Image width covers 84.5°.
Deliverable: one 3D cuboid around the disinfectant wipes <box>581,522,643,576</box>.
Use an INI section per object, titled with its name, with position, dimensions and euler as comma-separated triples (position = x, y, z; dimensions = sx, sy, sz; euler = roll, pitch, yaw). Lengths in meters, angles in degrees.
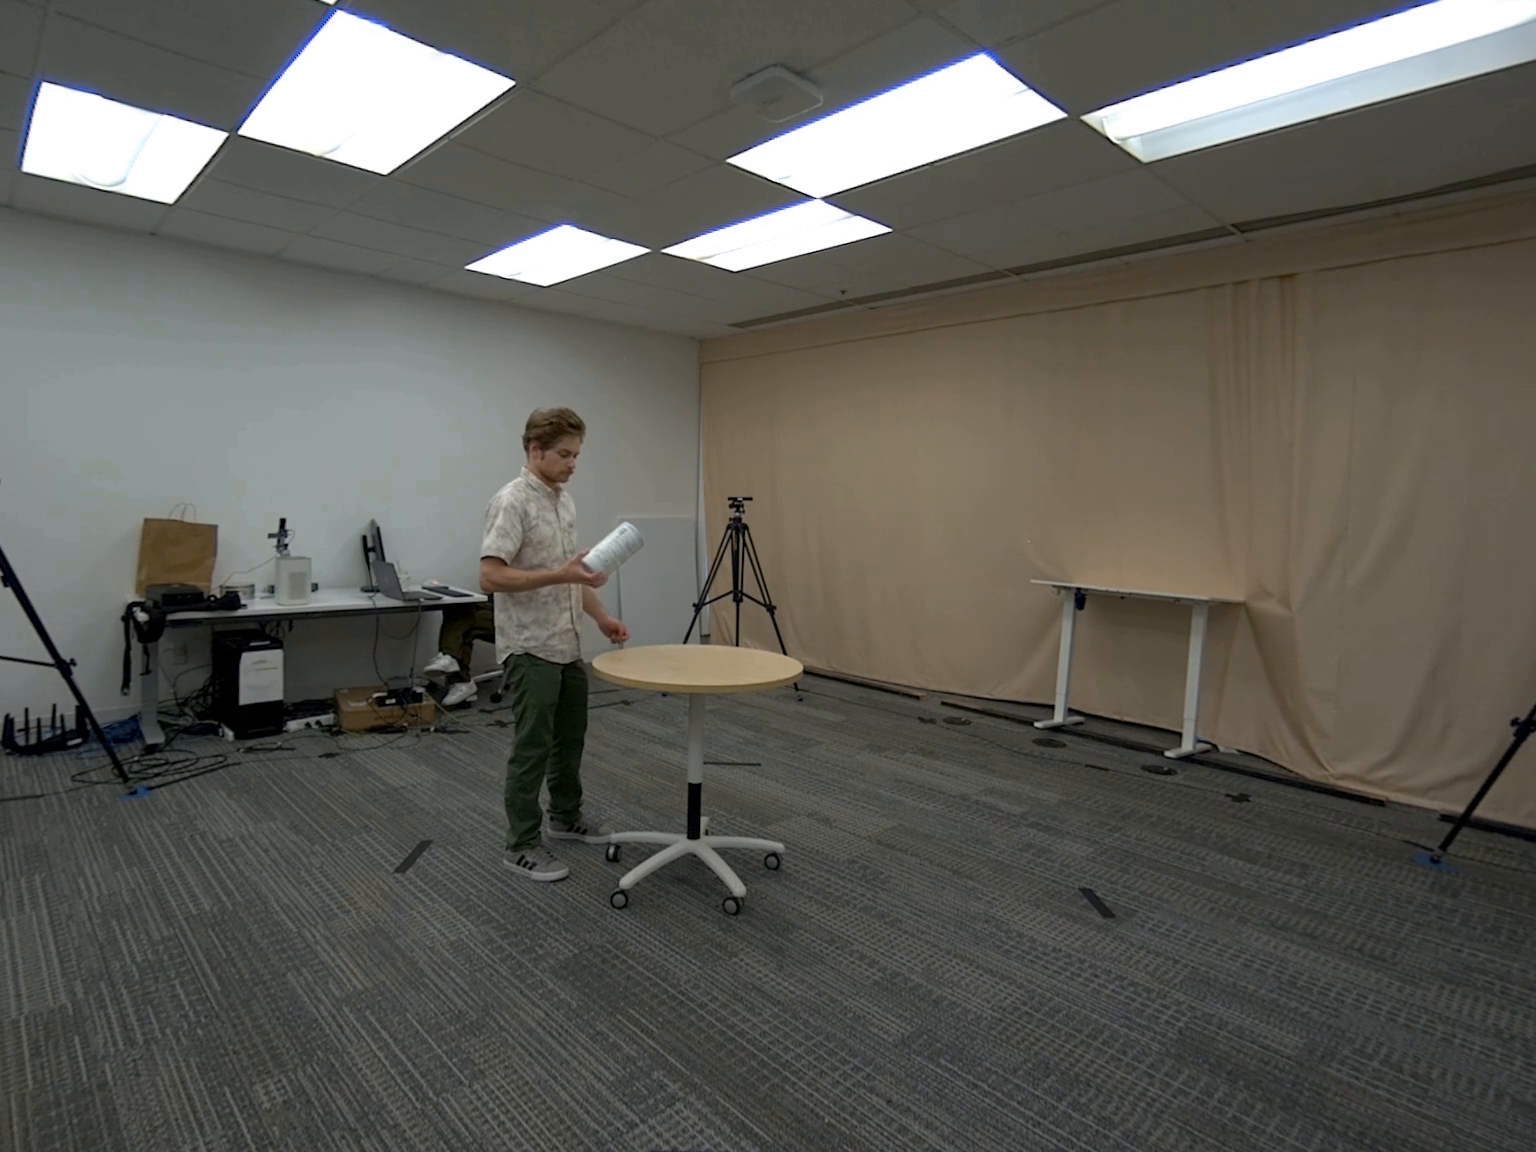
[disinfectant wipes]
position = -0.548, -0.083, 2.909
dimensions = 0.217, 0.115, 0.120
euler = -45, 27, -23
